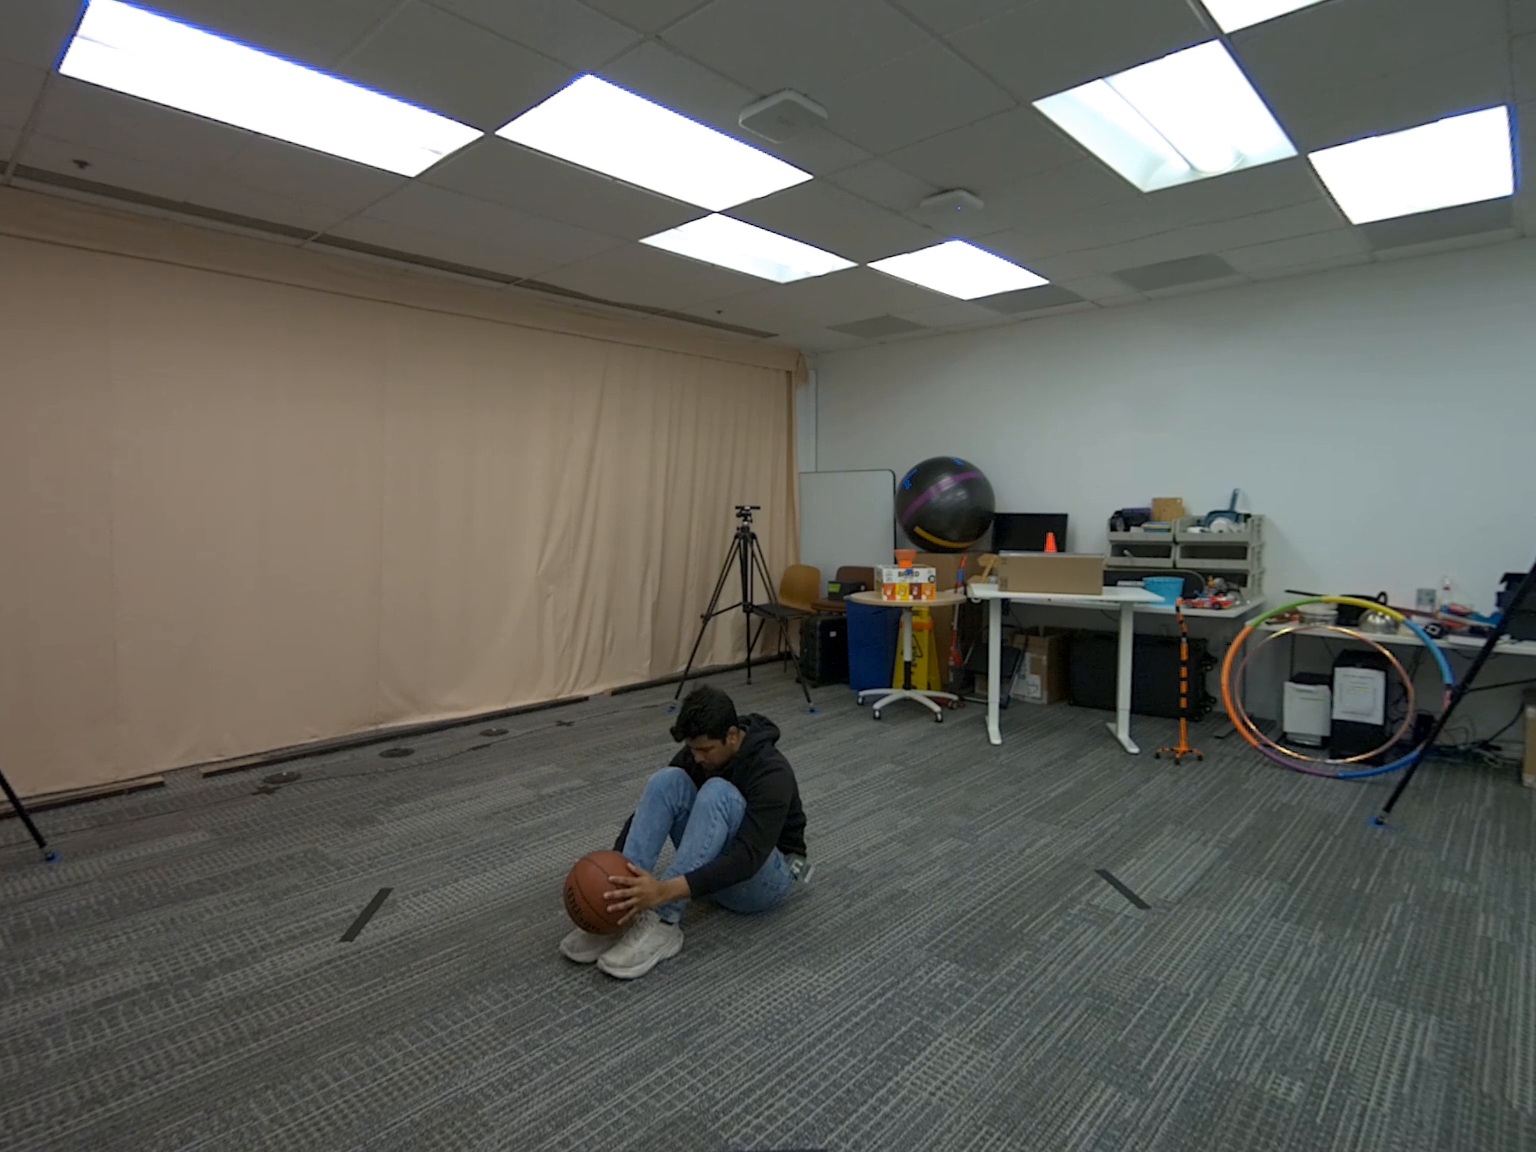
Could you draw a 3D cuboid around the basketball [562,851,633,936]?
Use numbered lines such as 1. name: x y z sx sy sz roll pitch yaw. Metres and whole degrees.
1. basketball: -0.498 0.944 2.561 0.236 0.235 0.237 0 4 -2
